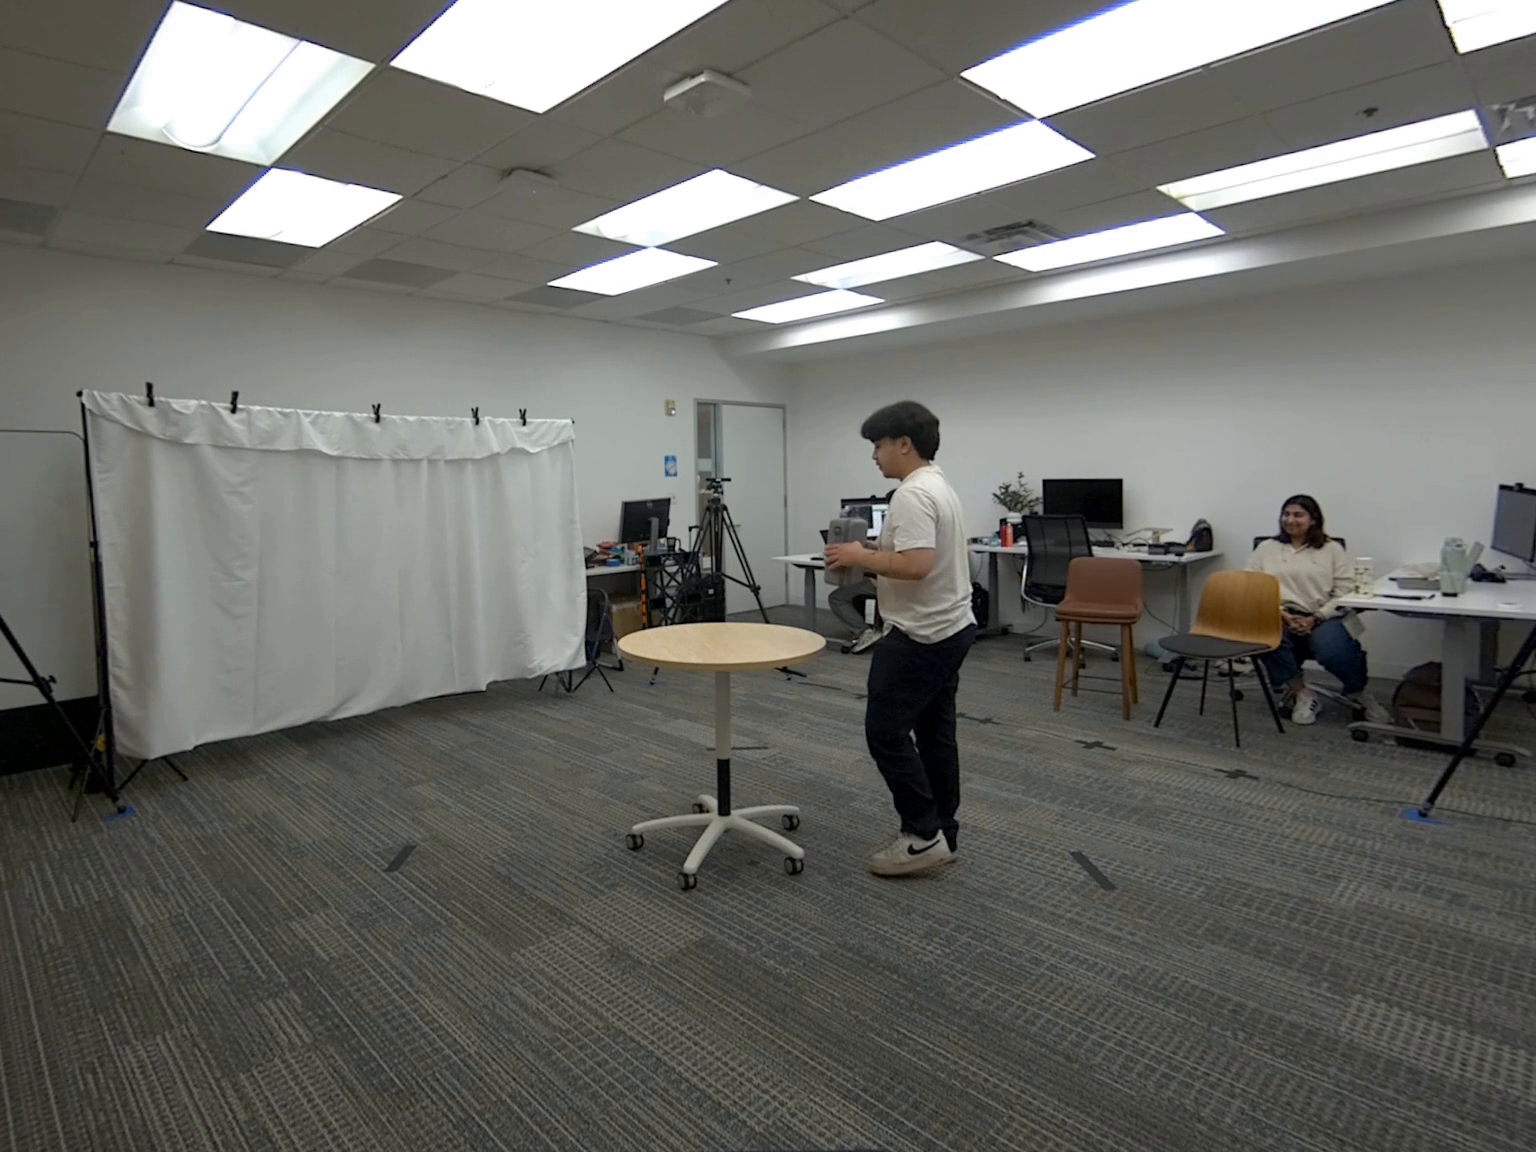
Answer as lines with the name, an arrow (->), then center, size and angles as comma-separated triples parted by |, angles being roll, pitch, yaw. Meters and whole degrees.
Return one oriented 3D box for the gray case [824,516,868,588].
gray case -> 0.299, -0.097, 3.212 | 0.106, 0.260, 0.252 | 3, 3, 18
